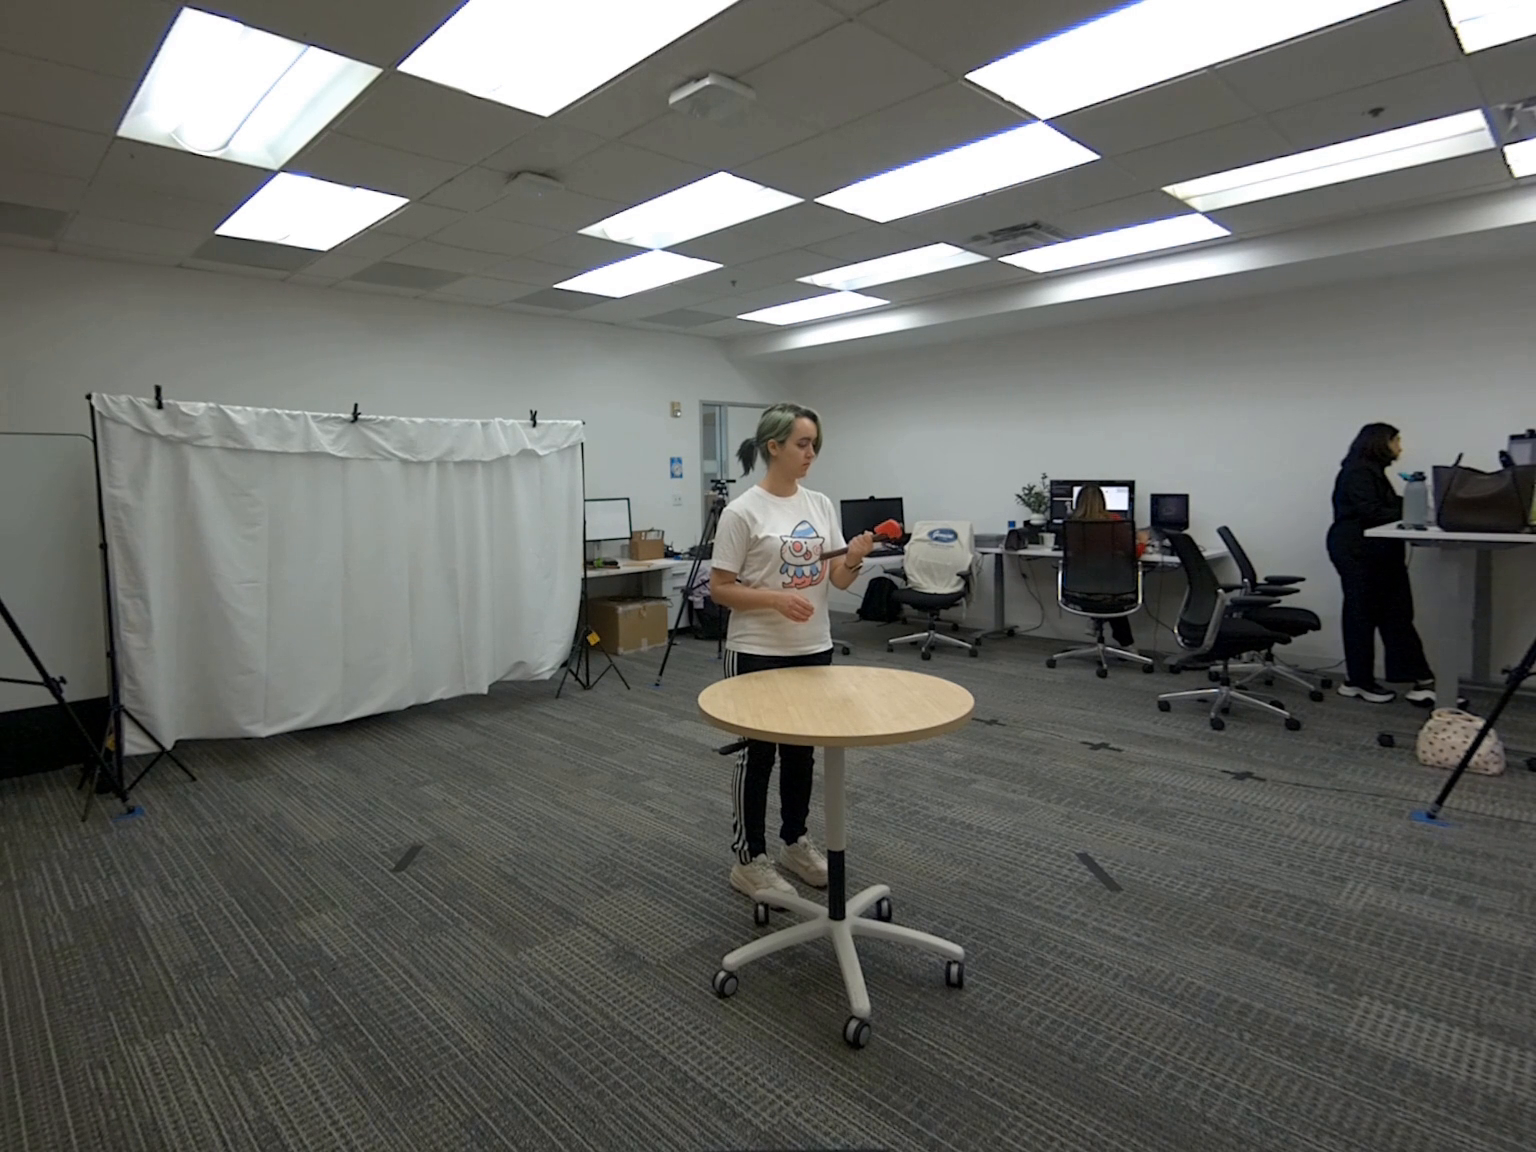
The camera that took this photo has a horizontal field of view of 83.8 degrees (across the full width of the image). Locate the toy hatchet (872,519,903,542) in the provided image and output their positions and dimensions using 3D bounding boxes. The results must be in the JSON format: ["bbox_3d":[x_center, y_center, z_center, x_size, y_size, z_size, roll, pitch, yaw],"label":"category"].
[{"bbox_3d":[0.293,-0.117,2.650,0.269,0.030,0.128,-14,-22,-4],"label":"toy hatchet"}]
